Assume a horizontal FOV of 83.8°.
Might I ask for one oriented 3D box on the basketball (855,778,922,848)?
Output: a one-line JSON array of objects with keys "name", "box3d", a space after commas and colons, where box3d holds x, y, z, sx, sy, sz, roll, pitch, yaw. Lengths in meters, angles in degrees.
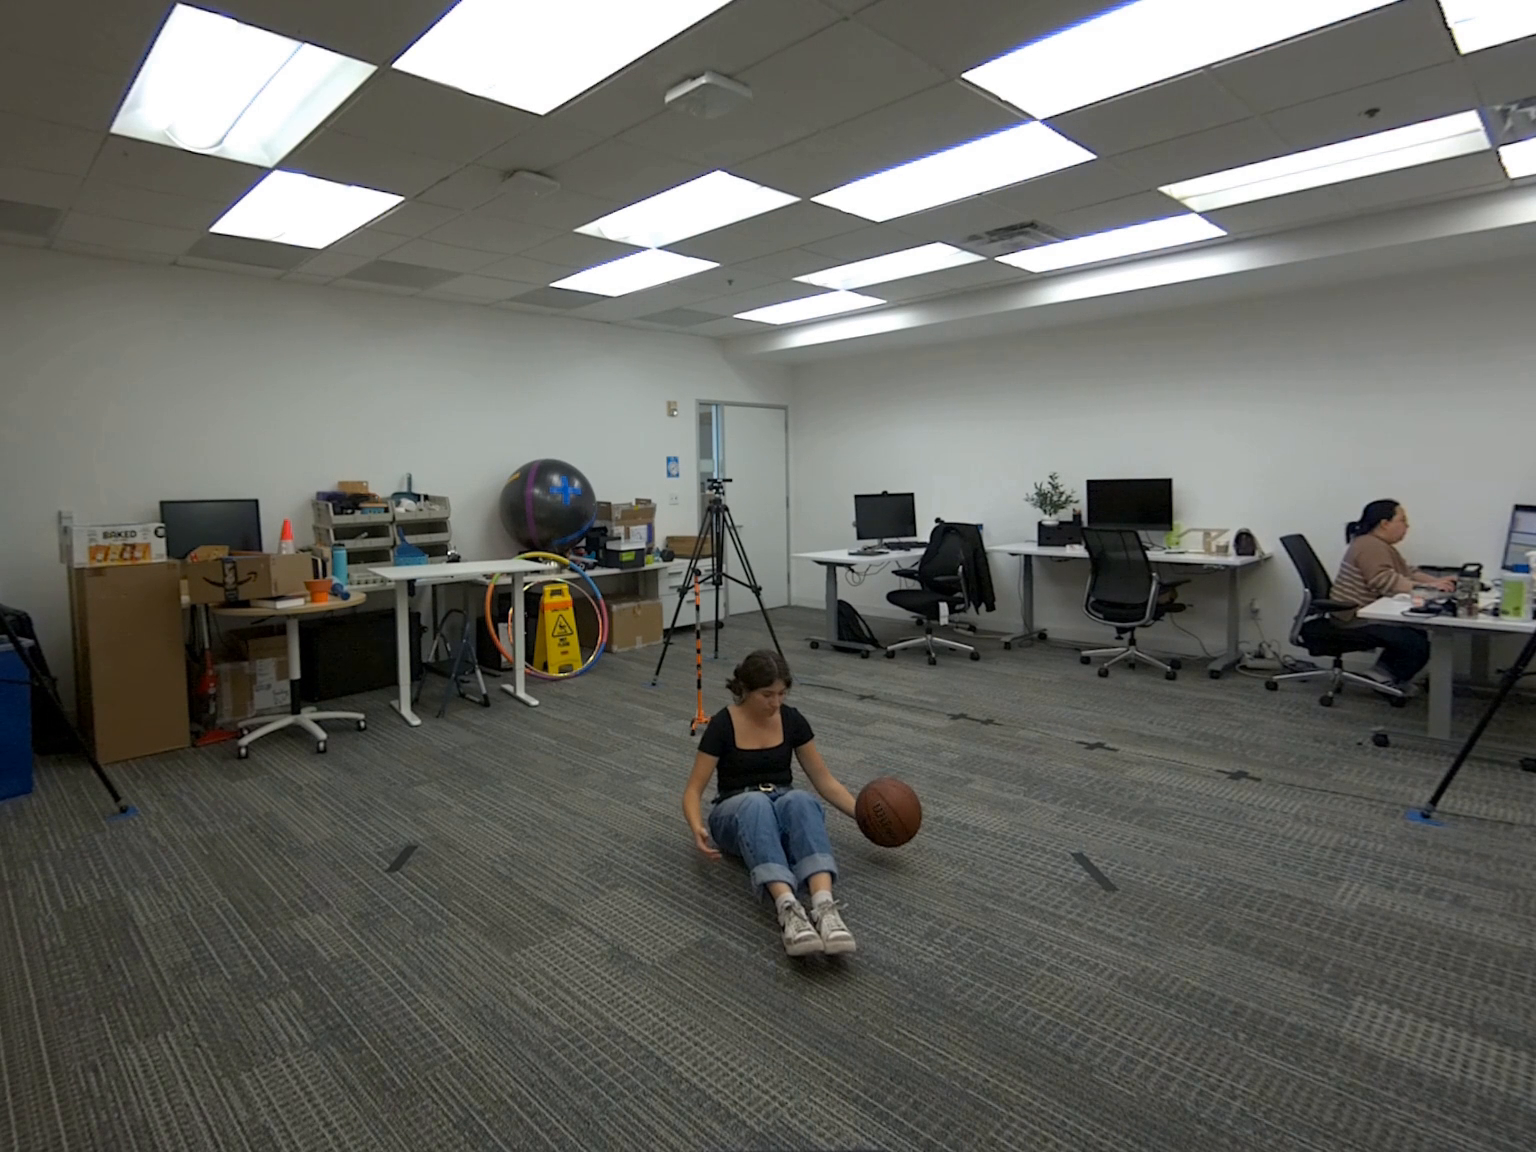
[{"name": "basketball", "box3d": [0.436, 0.847, 3.074, 0.236, 0.235, 0.237, -1, 5, -2]}]
